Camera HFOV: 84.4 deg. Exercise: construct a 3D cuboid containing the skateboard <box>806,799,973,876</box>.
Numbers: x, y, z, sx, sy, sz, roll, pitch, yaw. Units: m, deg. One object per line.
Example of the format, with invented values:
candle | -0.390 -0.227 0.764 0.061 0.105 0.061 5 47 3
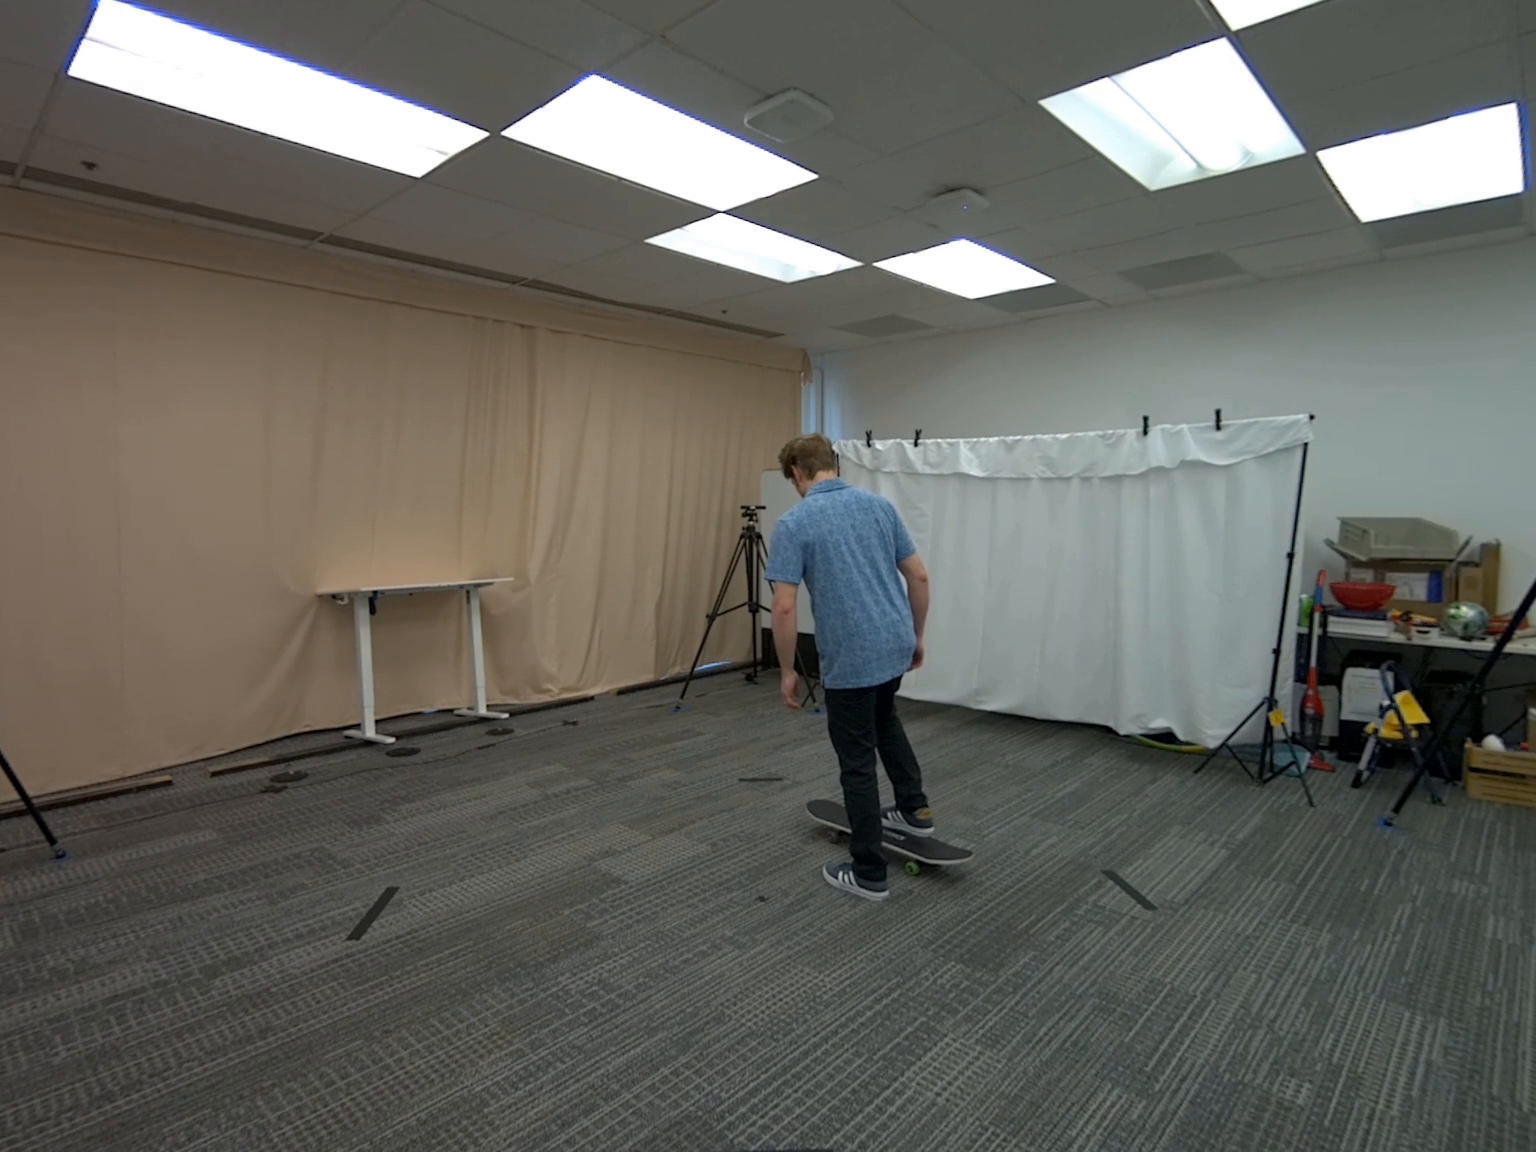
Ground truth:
skateboard | 0.471 1.055 3.375 0.187 0.110 0.812 -4 6 -42
